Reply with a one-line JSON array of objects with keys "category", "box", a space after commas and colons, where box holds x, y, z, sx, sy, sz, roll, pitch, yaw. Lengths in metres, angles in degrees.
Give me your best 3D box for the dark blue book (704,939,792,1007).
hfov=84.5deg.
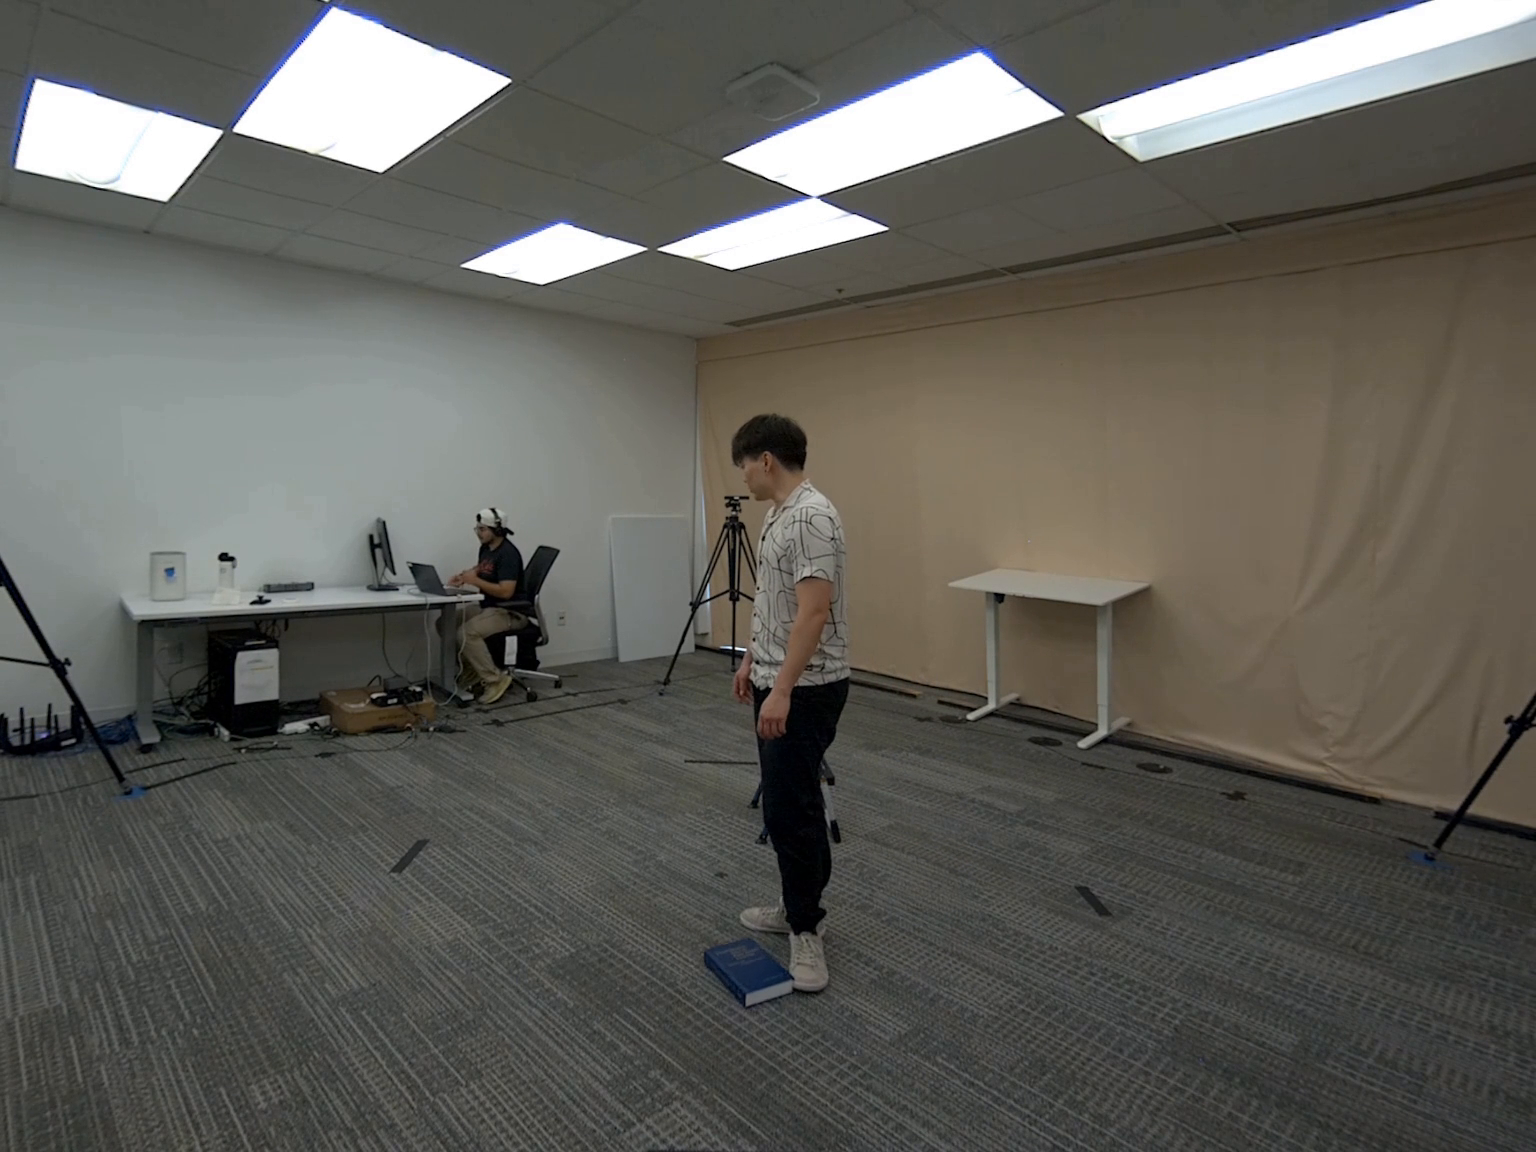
[{"category": "dark blue book", "box": [-0.068, 1.142, 2.442, 0.160, 0.045, 0.251, -1, 6, -31]}]
